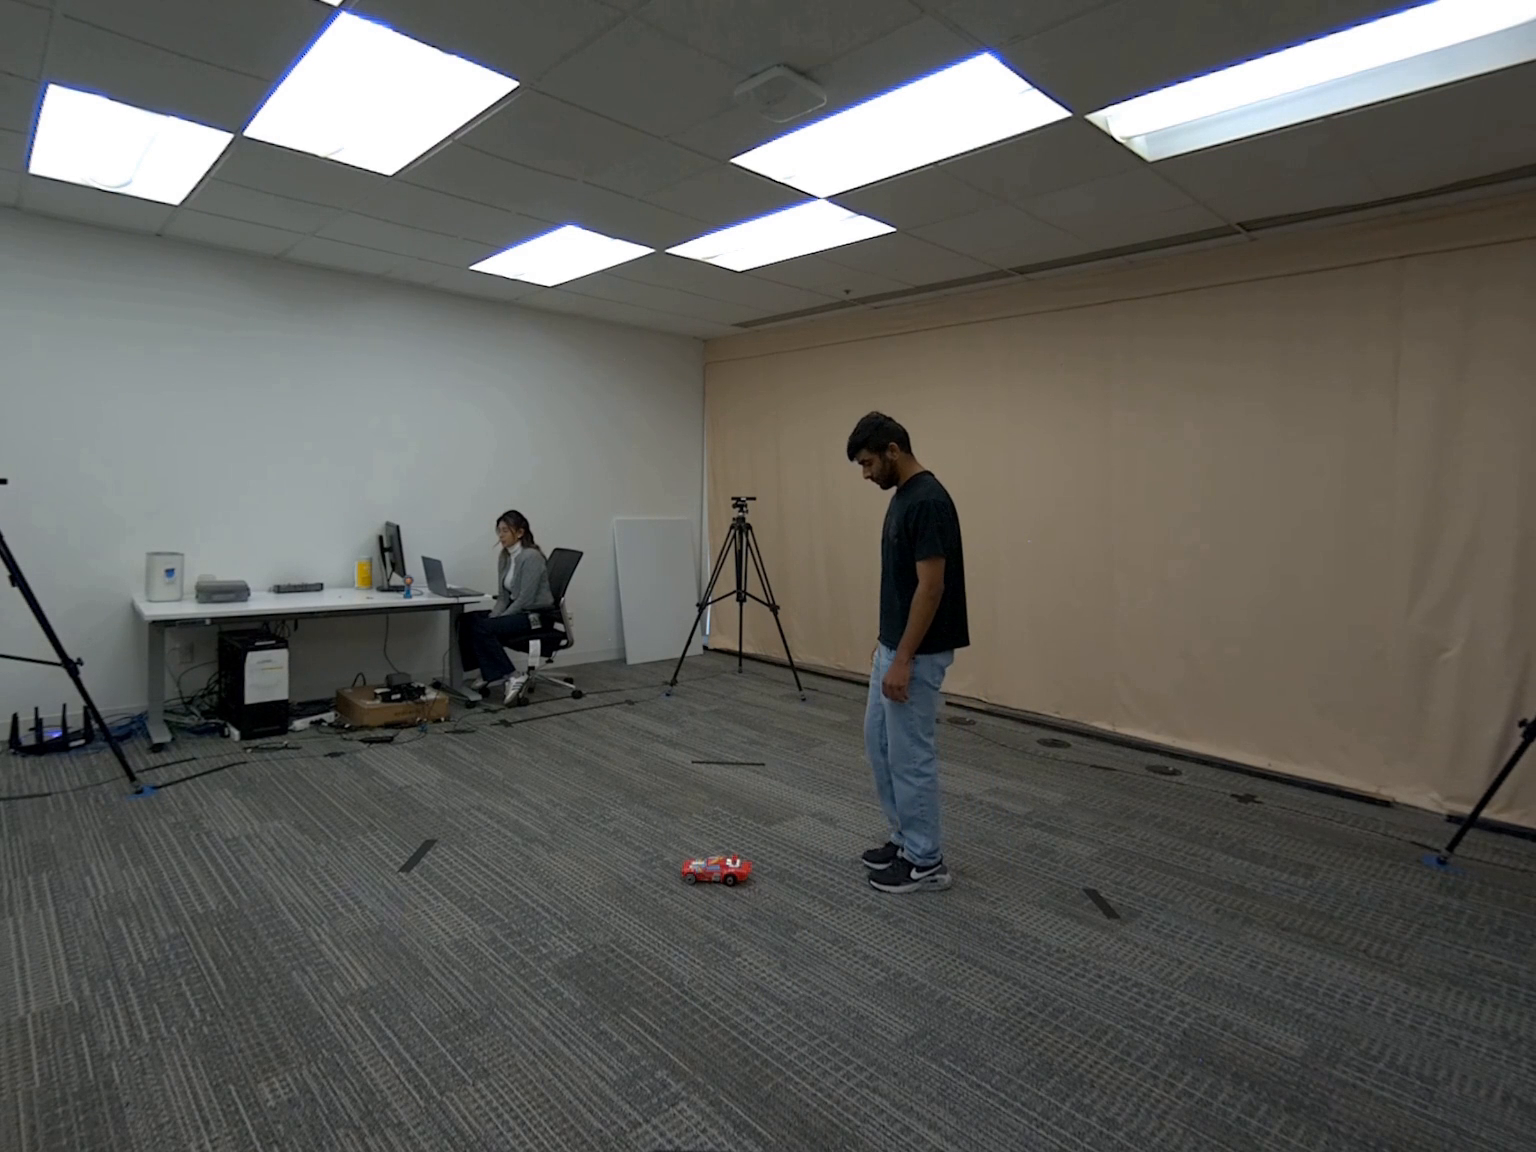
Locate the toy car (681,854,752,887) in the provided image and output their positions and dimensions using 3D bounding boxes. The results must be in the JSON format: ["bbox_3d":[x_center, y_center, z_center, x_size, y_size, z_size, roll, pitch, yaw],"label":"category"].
[{"bbox_3d":[-0.186,1.072,3.076,0.255,0.083,0.130,-10,4,5],"label":"toy car"}]
